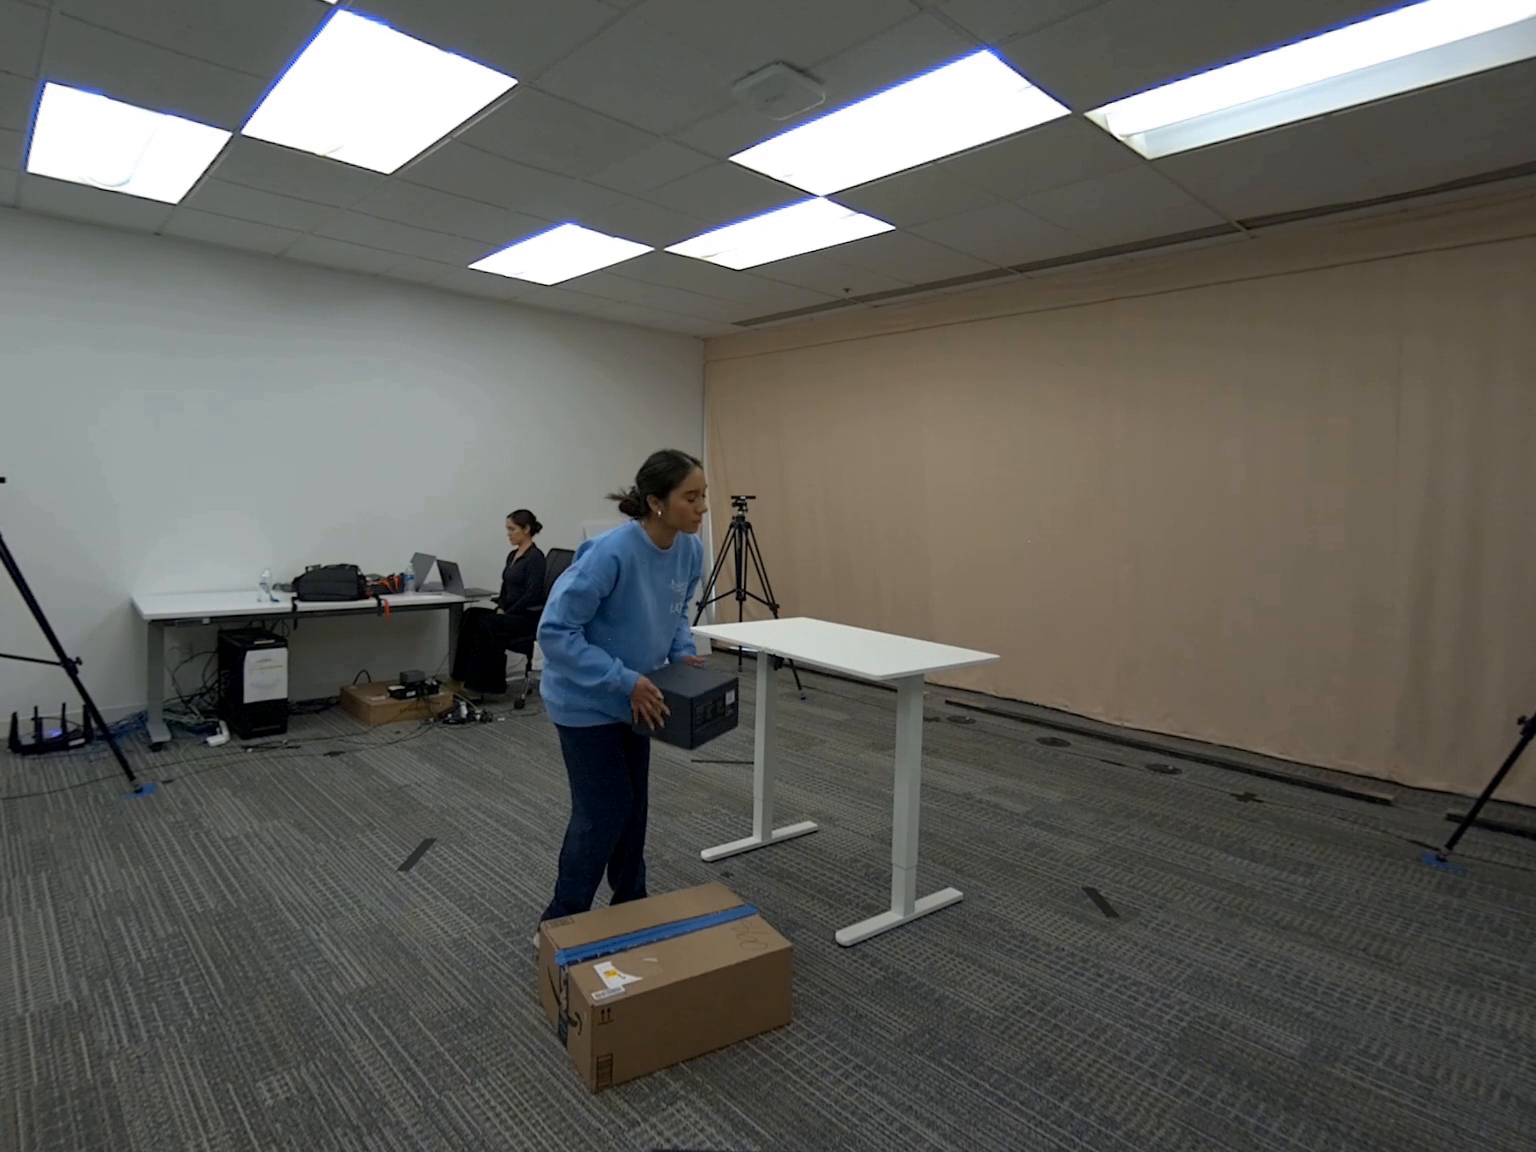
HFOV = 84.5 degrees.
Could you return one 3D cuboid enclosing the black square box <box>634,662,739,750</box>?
[{"bbox_3d":[-0.249,0.381,2.404,0.233,0.154,0.213,9,15,33],"label":"black square box"}]
